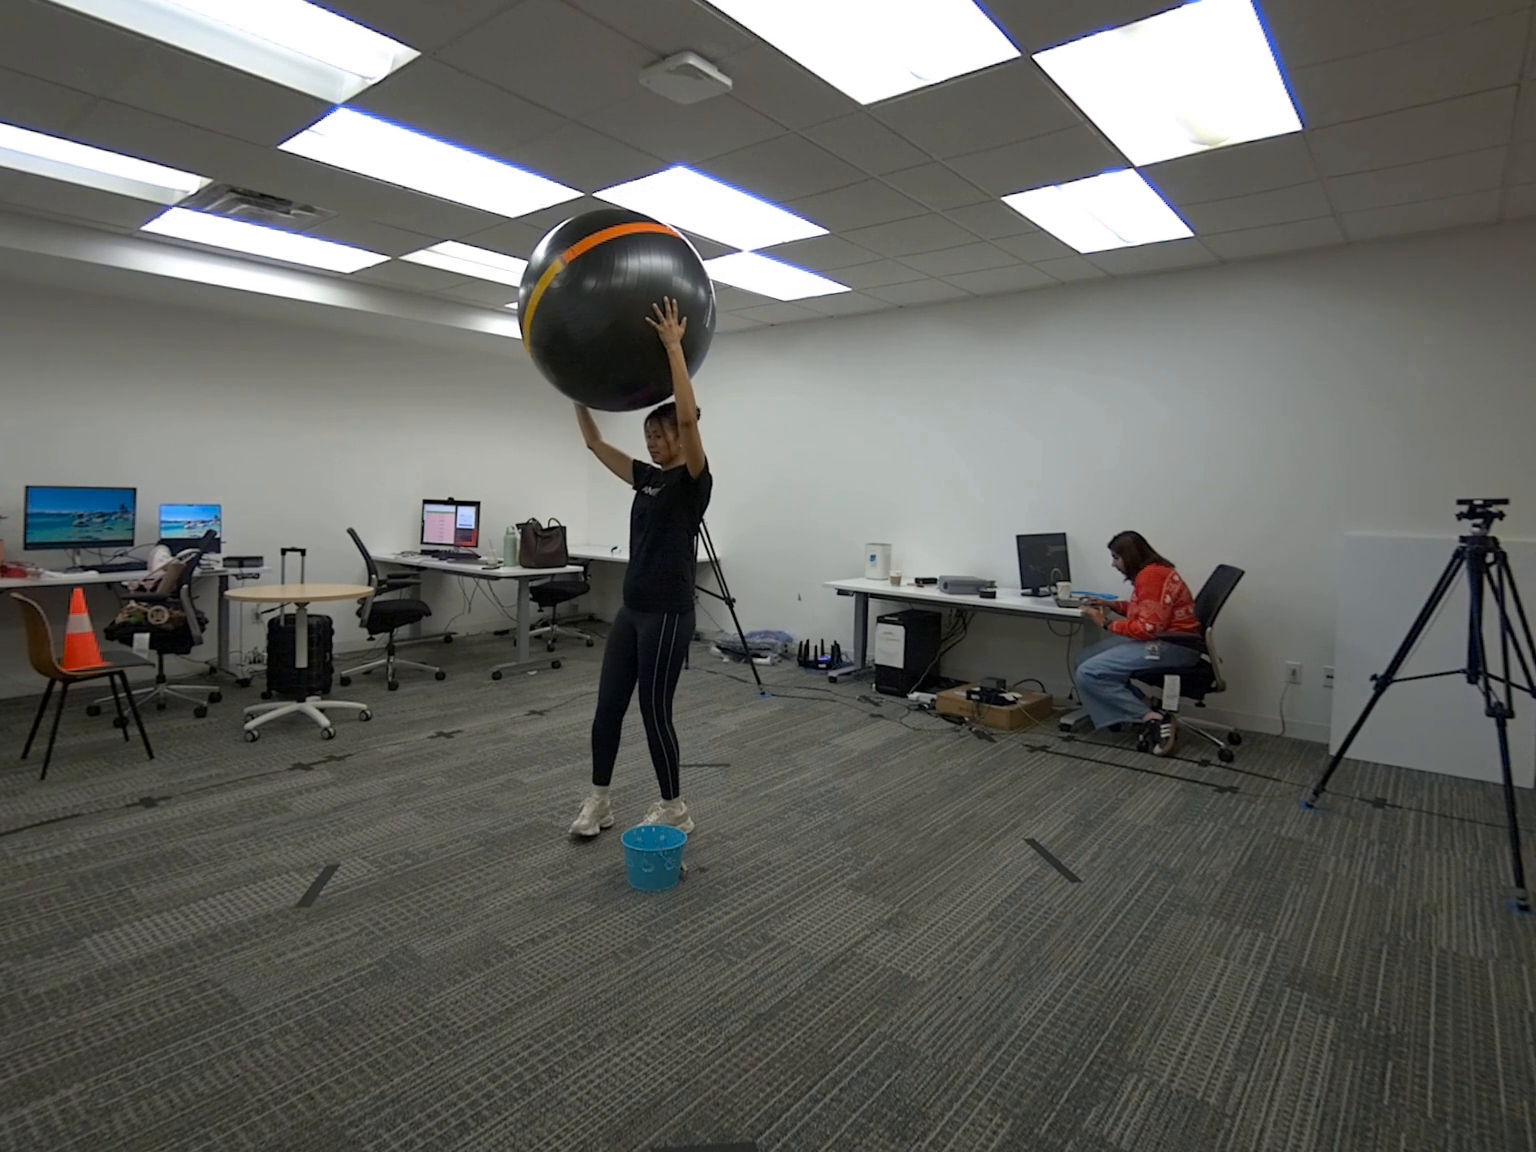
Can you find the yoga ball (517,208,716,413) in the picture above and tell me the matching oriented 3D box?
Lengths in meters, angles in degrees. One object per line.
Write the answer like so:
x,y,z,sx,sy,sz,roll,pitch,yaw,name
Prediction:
-0.589,-1.011,3.277,0.757,0.755,0.762,1,4,-2,yoga ball
